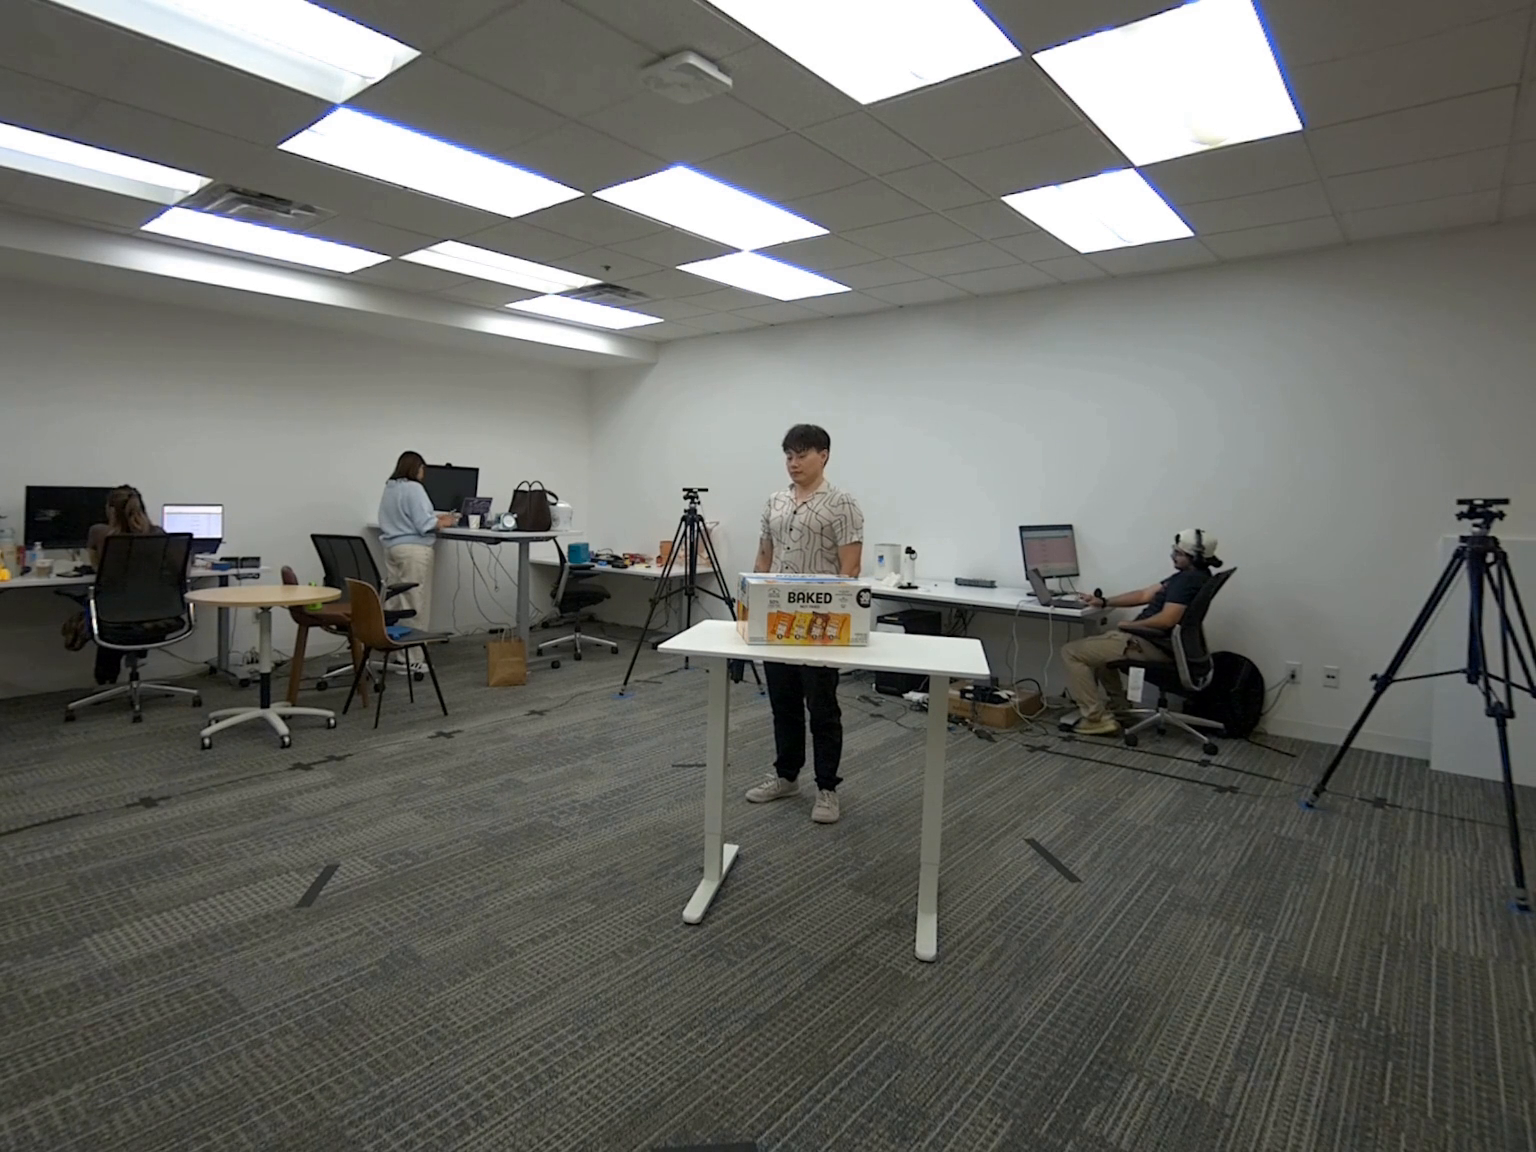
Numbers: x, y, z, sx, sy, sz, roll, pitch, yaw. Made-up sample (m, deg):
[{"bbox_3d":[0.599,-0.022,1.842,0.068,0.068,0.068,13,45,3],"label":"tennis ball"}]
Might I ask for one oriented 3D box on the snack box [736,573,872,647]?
[{"bbox_3d":[0.103,0.106,2.940,0.402,0.205,0.344,2,5,-7],"label":"snack box"}]
